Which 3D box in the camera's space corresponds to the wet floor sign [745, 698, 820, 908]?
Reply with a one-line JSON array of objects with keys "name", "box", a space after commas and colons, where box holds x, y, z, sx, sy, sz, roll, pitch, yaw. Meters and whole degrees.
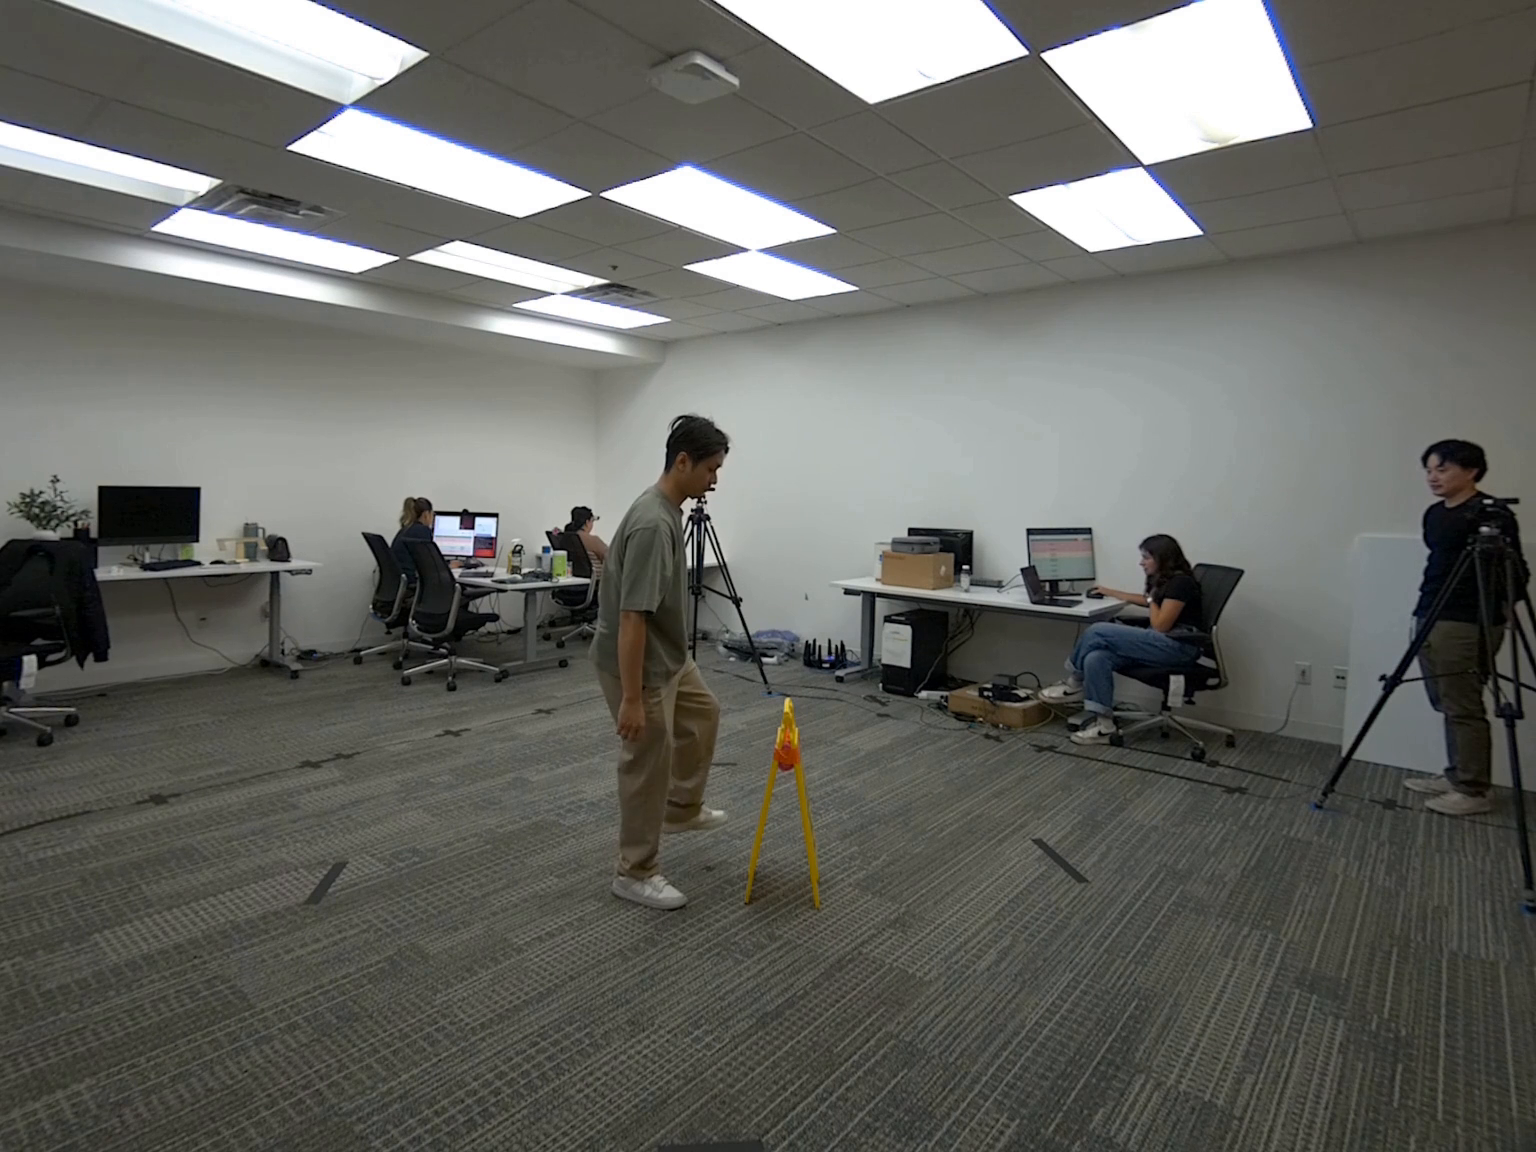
[{"name": "wet floor sign", "box": [0.055, 0.766, 2.958, 0.291, 0.644, 0.282, 2, 4, 3]}]
